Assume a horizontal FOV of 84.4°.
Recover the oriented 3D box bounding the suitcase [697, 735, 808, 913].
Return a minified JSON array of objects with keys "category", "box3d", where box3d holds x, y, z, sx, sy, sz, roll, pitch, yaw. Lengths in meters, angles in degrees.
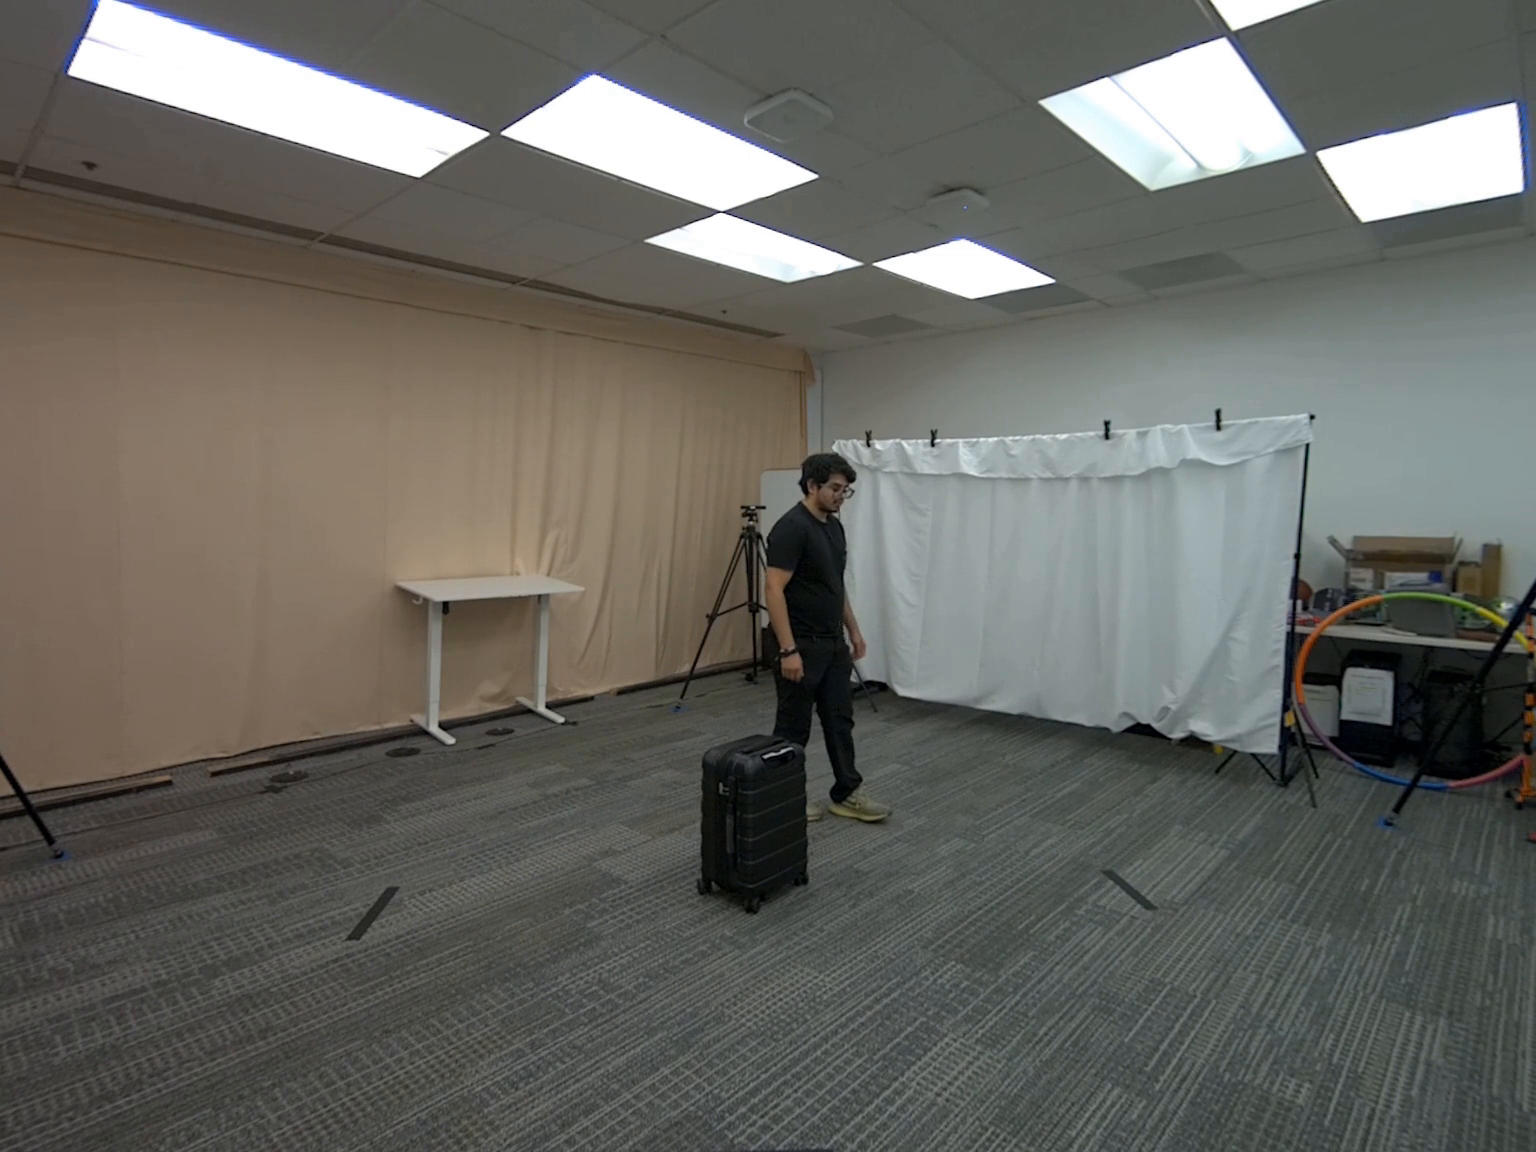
[{"category":"suitcase","box3d":[-0.050,0.865,3.028,0.256,0.548,0.364,4,6,42]}]
